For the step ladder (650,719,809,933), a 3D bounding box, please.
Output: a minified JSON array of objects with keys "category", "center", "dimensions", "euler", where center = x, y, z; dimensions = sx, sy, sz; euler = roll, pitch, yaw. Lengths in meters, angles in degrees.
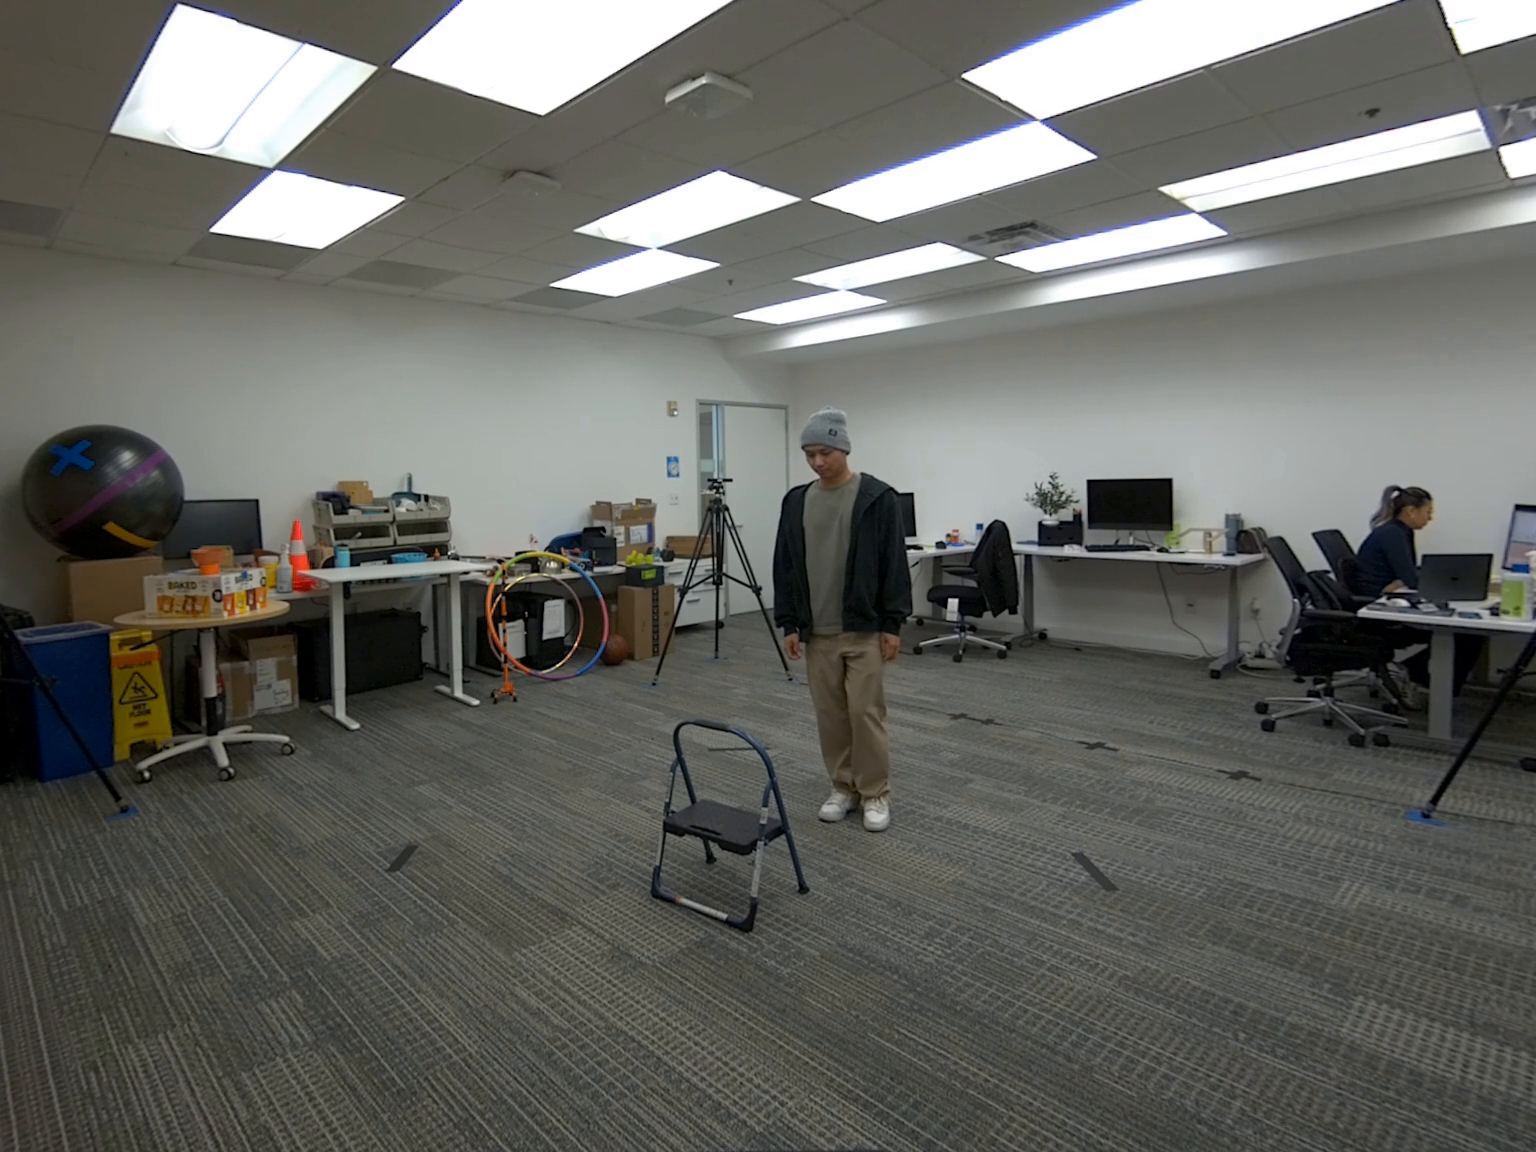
[{"category":"step ladder","center":[-0.134,0.769,2.868],"dimensions":[0.443,0.604,0.341],"euler":[2,5,35]}]
